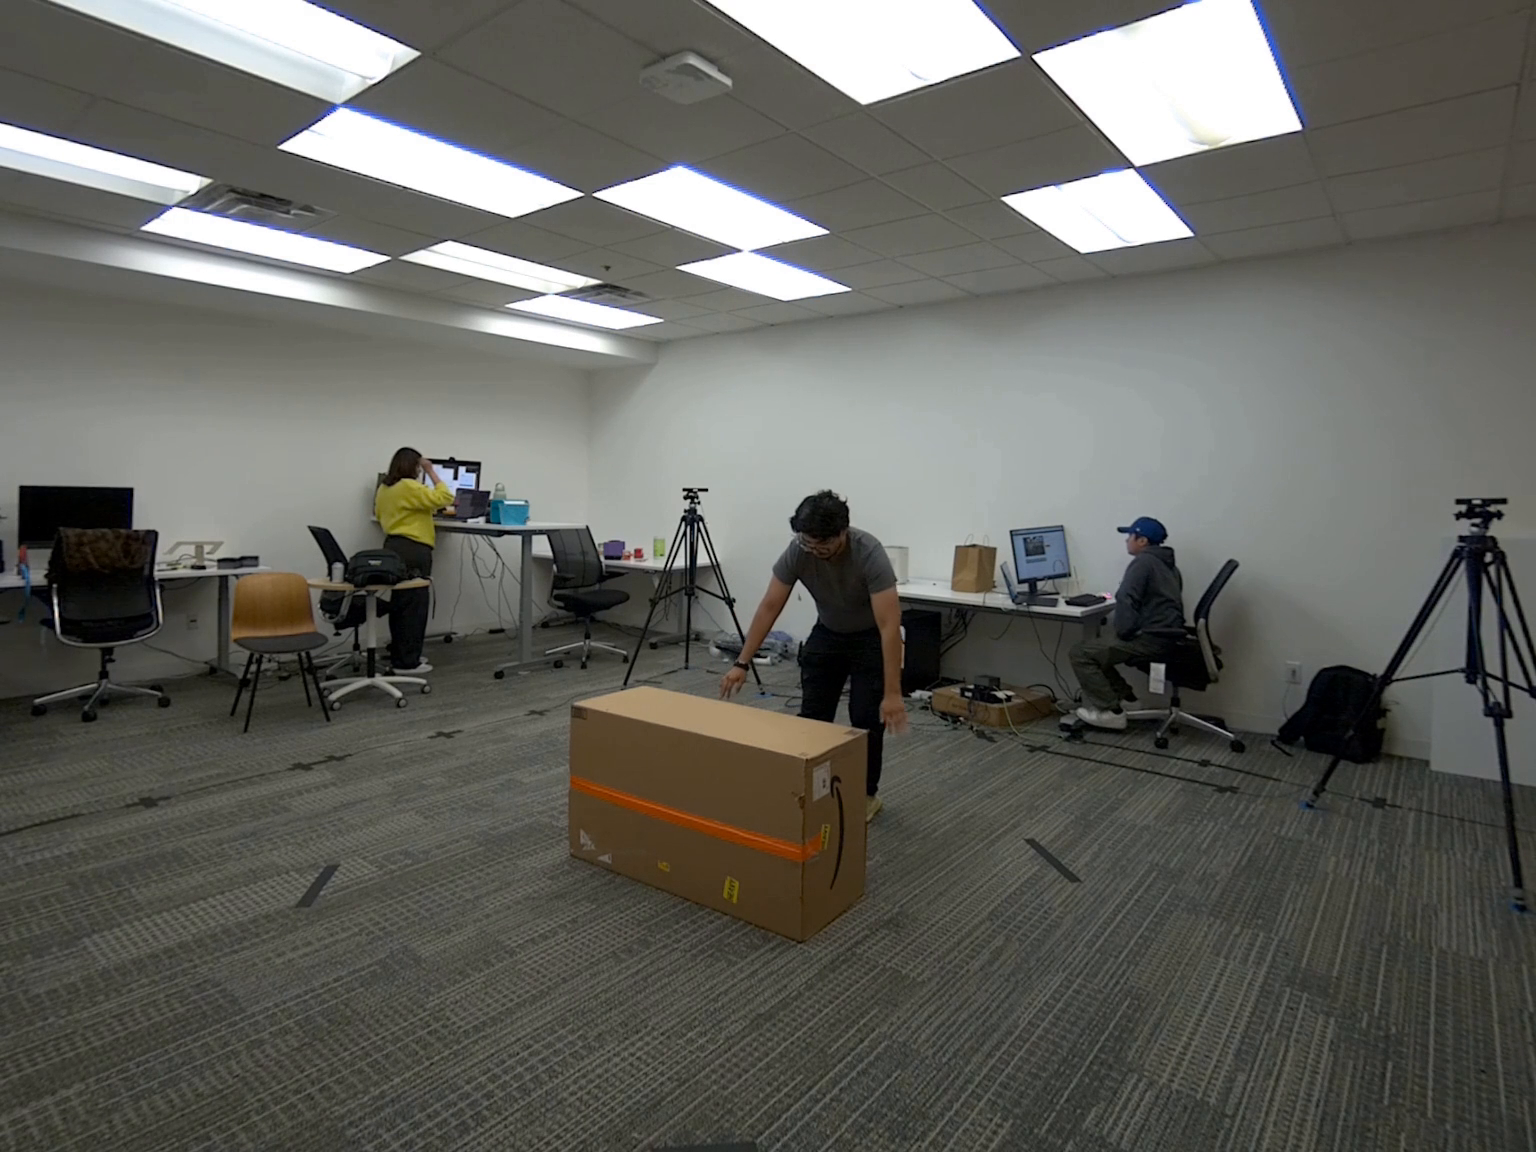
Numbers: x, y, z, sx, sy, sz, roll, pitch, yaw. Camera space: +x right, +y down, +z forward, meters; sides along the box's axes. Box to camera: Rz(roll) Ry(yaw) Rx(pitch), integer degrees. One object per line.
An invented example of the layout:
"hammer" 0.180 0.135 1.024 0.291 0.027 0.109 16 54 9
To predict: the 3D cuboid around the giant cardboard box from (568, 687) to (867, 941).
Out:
"giant cardboard box" -0.214 0.784 3.054 1.059 0.576 0.414 5 5 35
